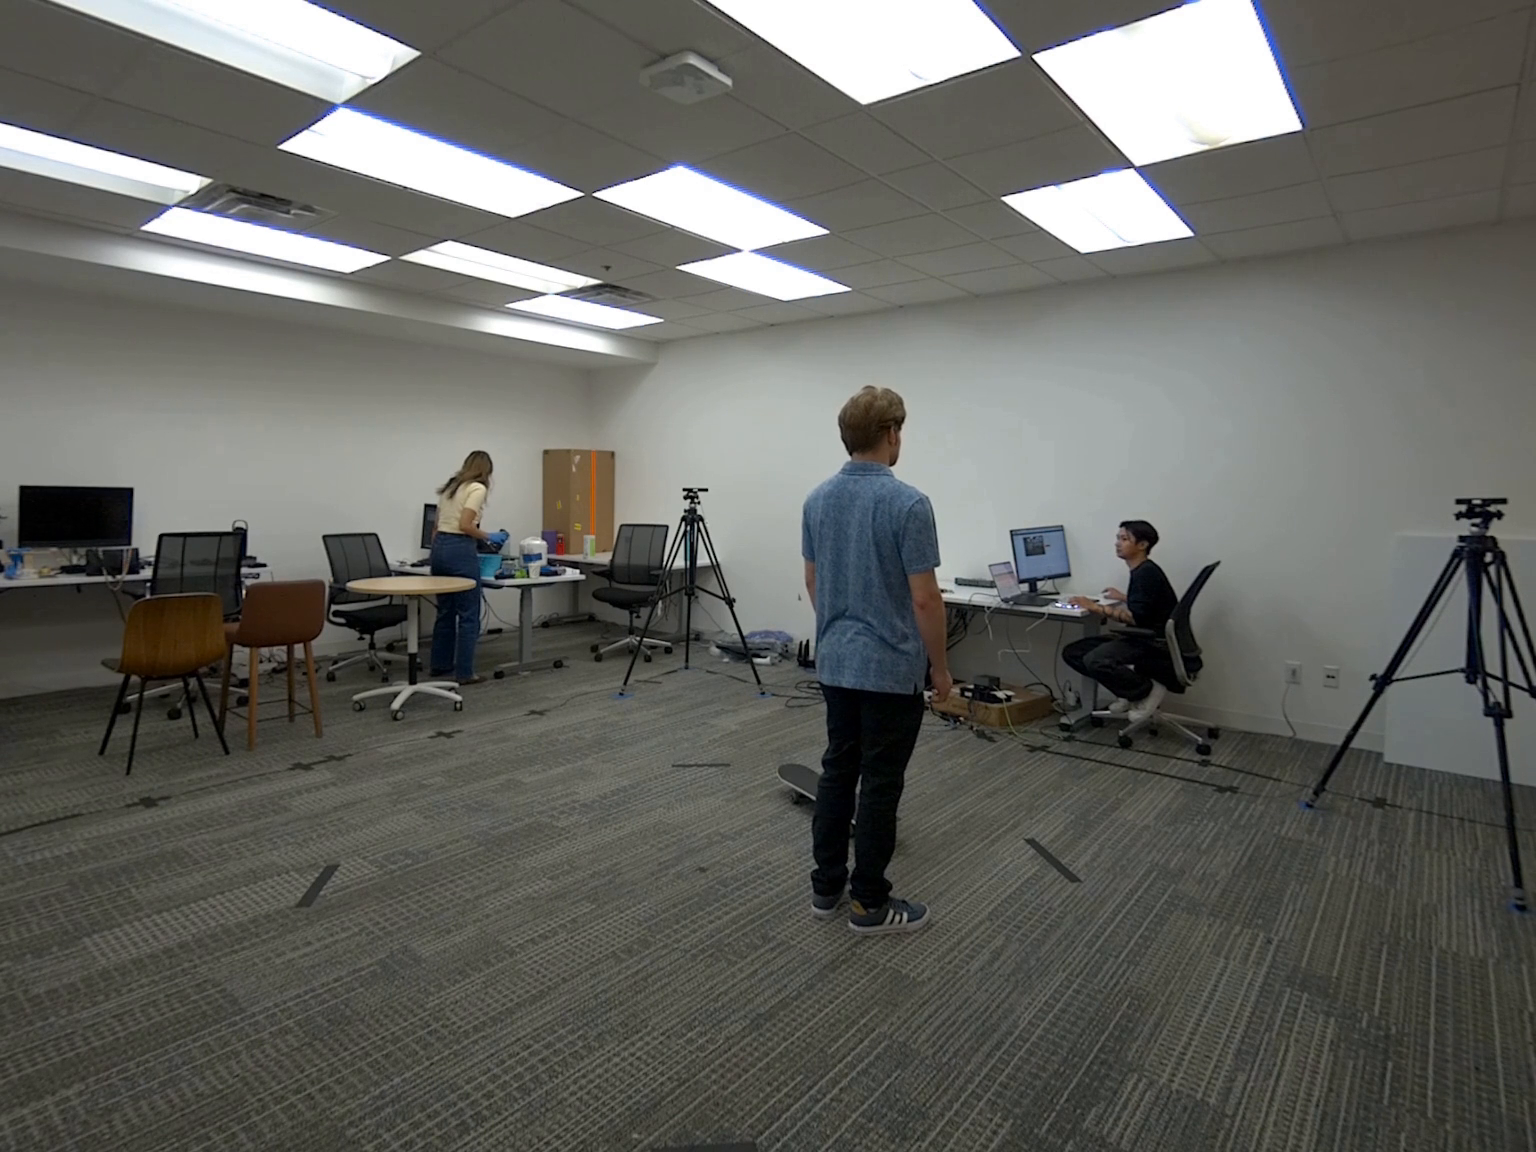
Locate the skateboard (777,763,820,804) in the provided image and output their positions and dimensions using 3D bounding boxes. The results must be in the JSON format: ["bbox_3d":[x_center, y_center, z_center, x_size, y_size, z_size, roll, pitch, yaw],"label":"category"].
[{"bbox_3d":[0.279,0.967,3.649,0.188,0.110,0.809,-2,6,-29],"label":"skateboard"}]
